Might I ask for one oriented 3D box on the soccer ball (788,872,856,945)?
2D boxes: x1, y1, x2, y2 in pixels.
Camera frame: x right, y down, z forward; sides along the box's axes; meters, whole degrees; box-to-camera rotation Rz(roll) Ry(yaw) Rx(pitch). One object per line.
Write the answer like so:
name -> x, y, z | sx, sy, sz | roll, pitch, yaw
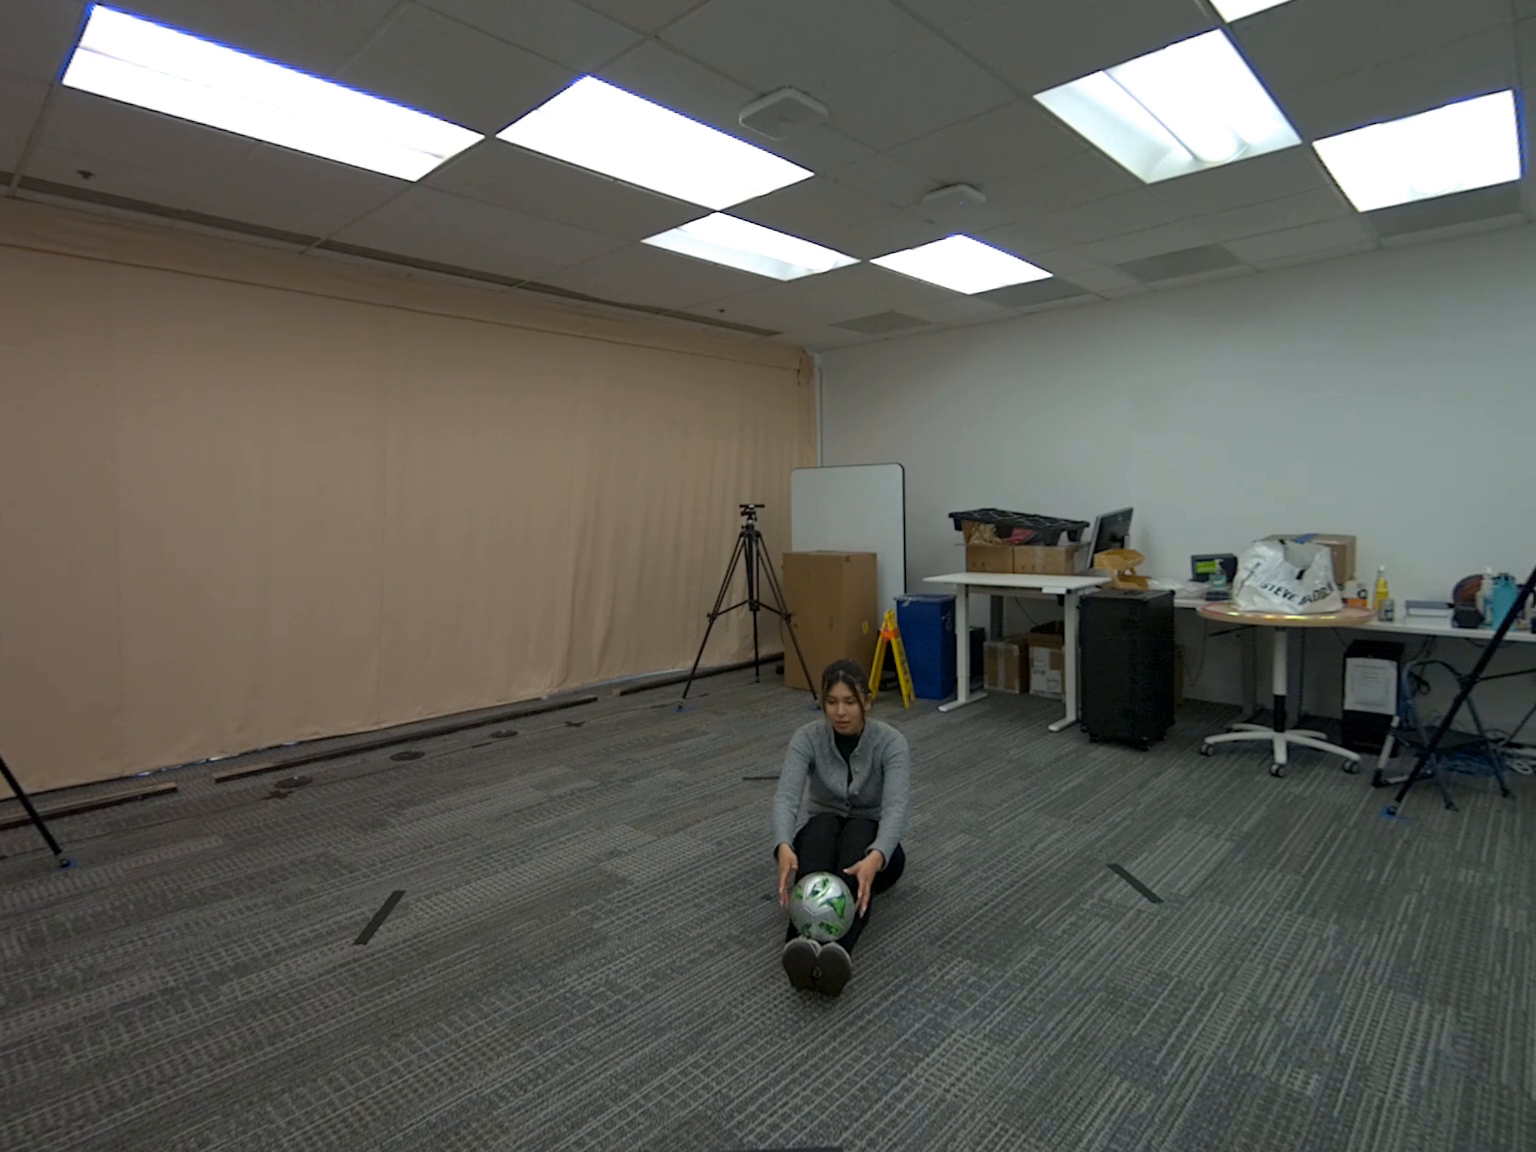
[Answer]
soccer ball -> 0.155, 0.950, 2.433 | 0.187, 0.187, 0.188 | -1, 4, -2
